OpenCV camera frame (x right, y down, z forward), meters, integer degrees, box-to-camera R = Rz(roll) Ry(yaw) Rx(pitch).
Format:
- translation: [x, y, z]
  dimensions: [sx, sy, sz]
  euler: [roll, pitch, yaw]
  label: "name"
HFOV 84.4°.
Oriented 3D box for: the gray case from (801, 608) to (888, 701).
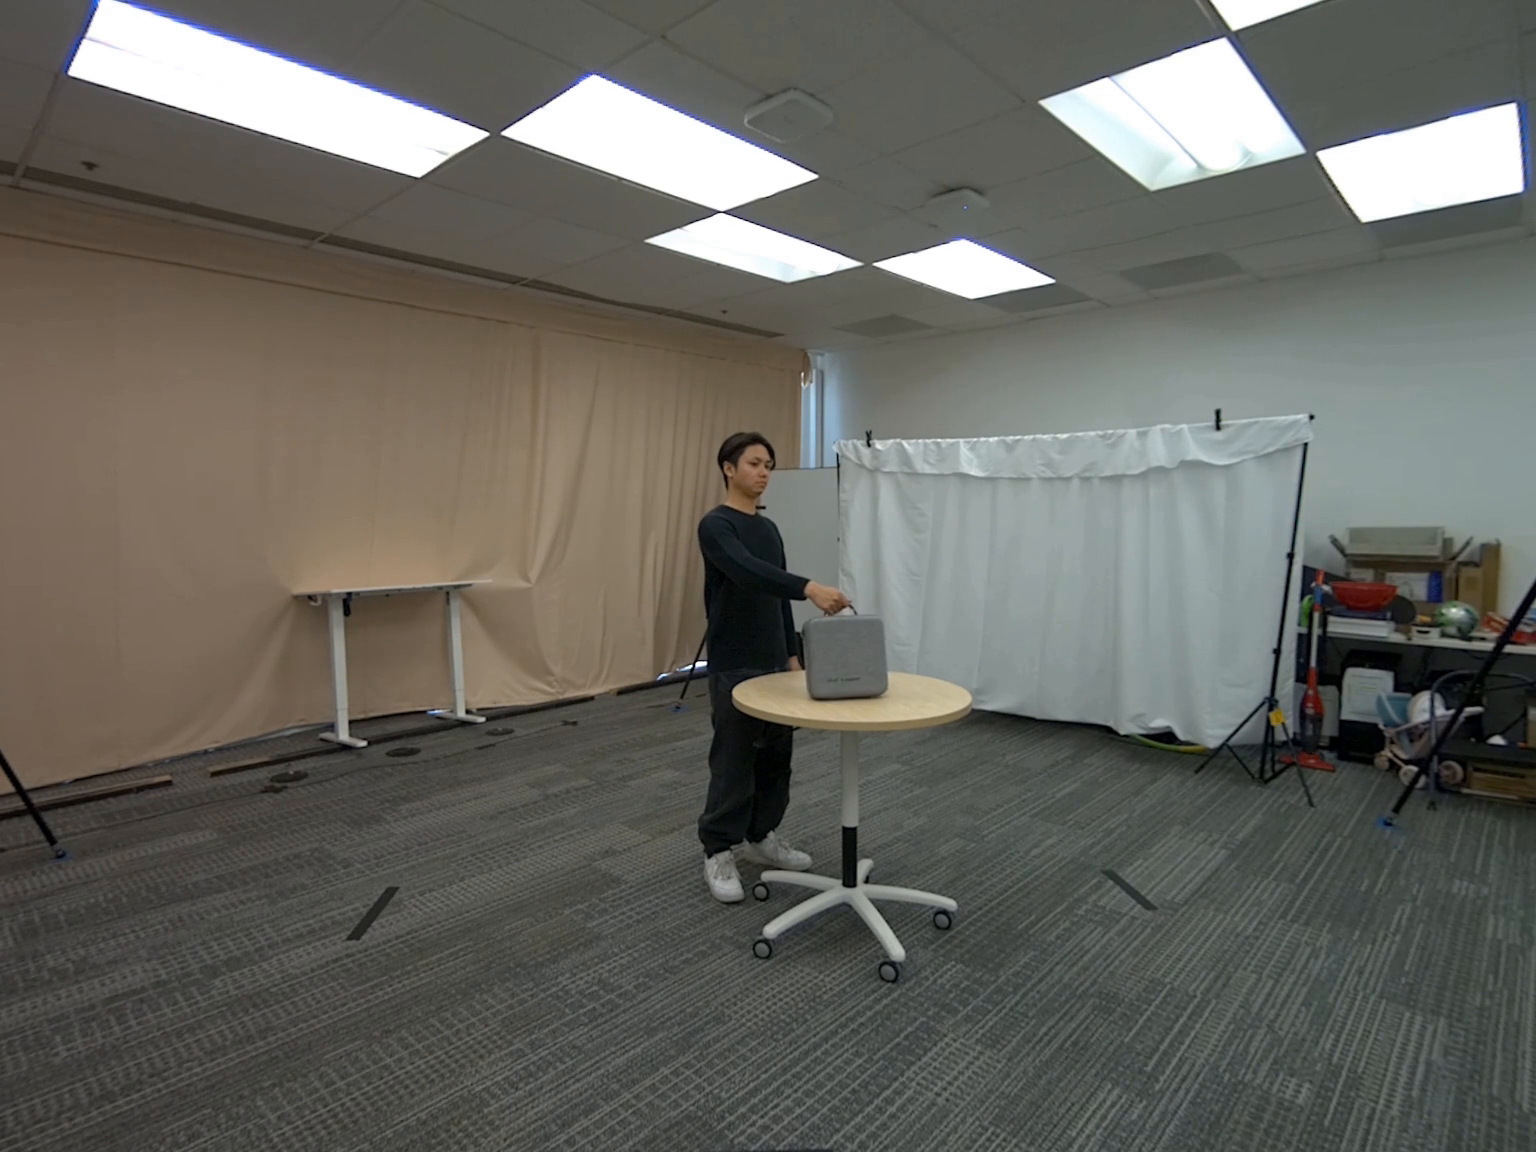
- translation: [0.246, 0.252, 2.682]
  dimensions: [0.255, 0.262, 0.104]
  euler: [-1, -8, -7]
  label: "gray case"
